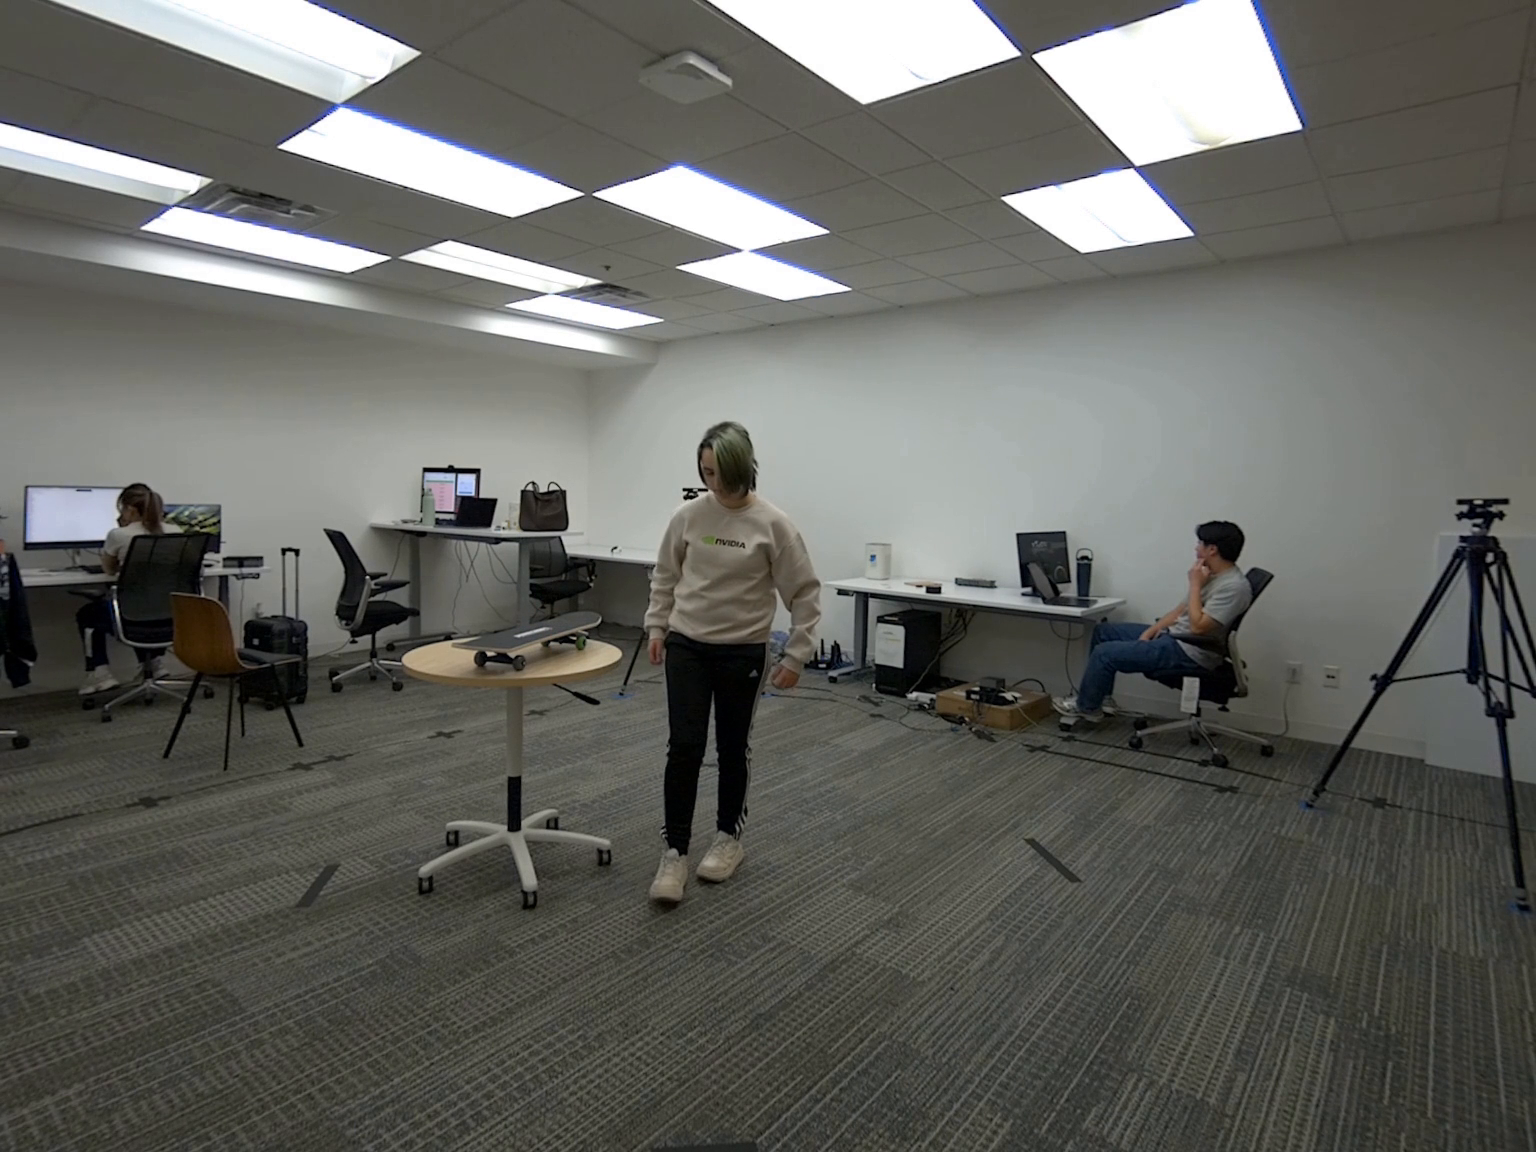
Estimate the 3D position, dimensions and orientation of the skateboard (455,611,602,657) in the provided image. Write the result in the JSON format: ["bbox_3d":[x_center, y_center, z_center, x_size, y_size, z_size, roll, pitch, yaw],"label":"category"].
[{"bbox_3d":[-0.847,0.236,3.016,0.198,0.110,0.772,5,7,18],"label":"skateboard"}]
